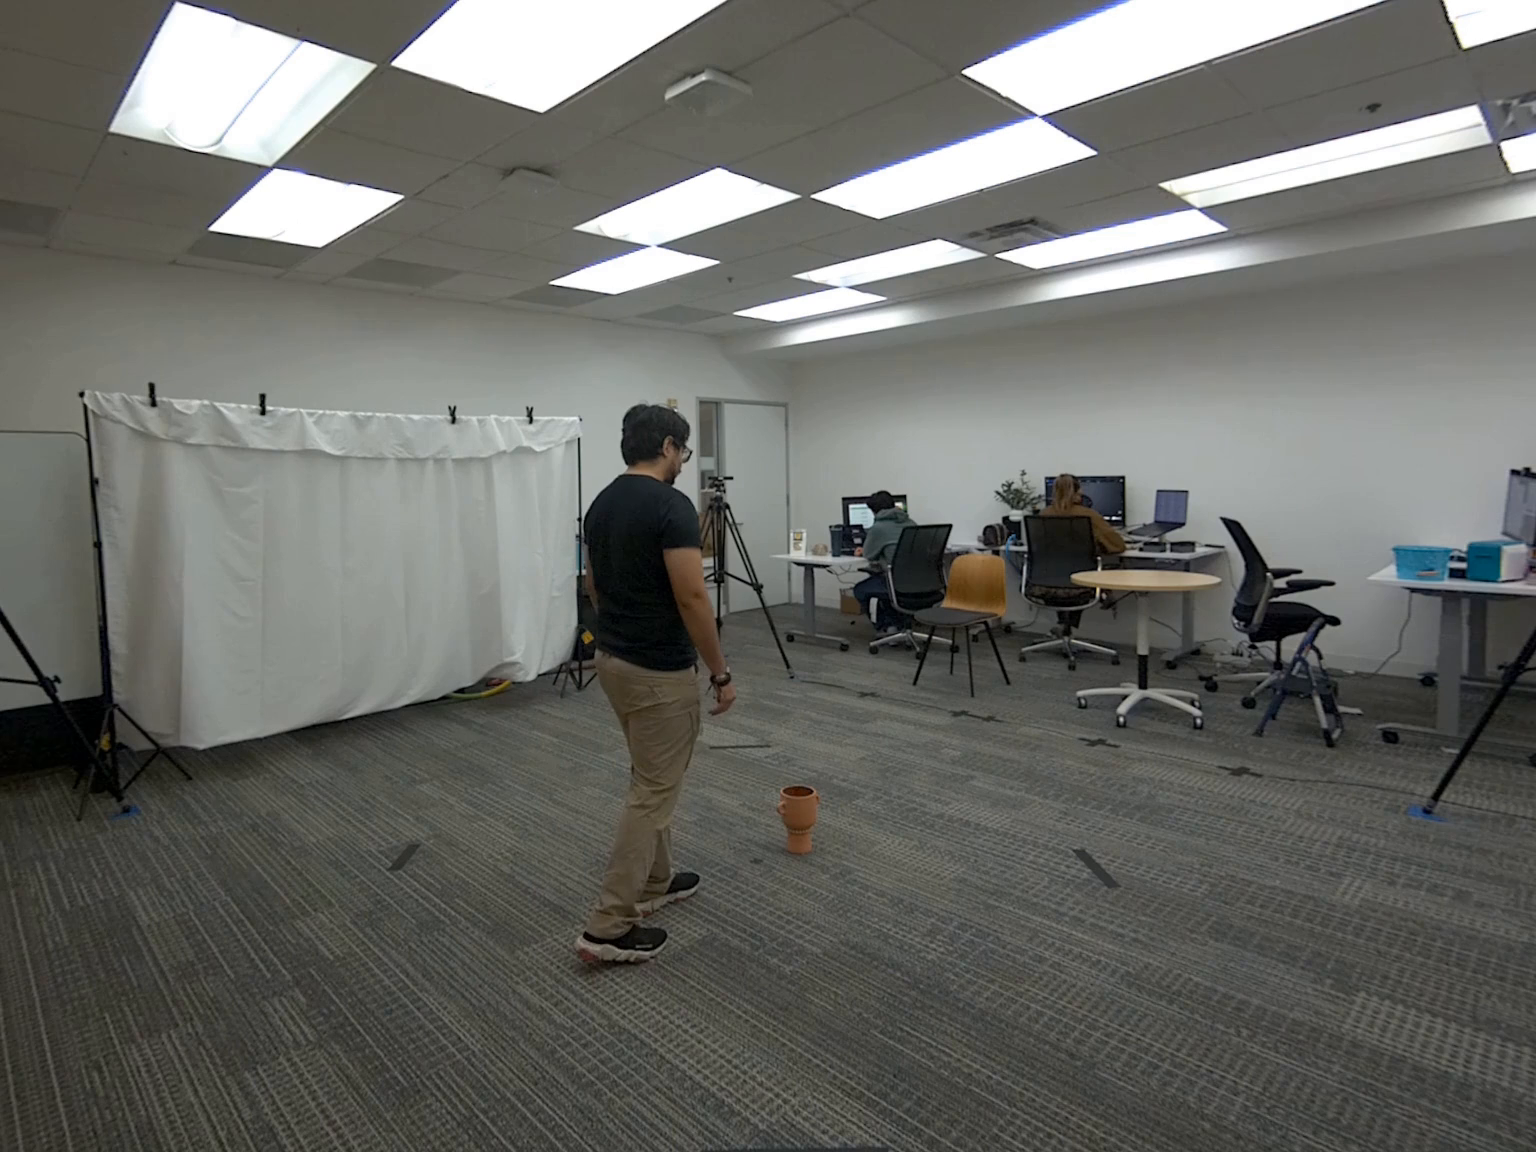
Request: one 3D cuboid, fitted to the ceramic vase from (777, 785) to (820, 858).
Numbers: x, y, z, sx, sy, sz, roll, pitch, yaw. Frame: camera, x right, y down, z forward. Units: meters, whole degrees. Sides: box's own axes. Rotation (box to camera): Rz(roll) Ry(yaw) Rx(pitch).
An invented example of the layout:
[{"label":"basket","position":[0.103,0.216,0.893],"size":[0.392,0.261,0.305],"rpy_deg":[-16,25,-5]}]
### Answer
[{"label":"ceramic vase","position":[0.122,0.908,3.199],"size":[0.159,0.219,0.134],"rpy_deg":[-1,3,4]}]
